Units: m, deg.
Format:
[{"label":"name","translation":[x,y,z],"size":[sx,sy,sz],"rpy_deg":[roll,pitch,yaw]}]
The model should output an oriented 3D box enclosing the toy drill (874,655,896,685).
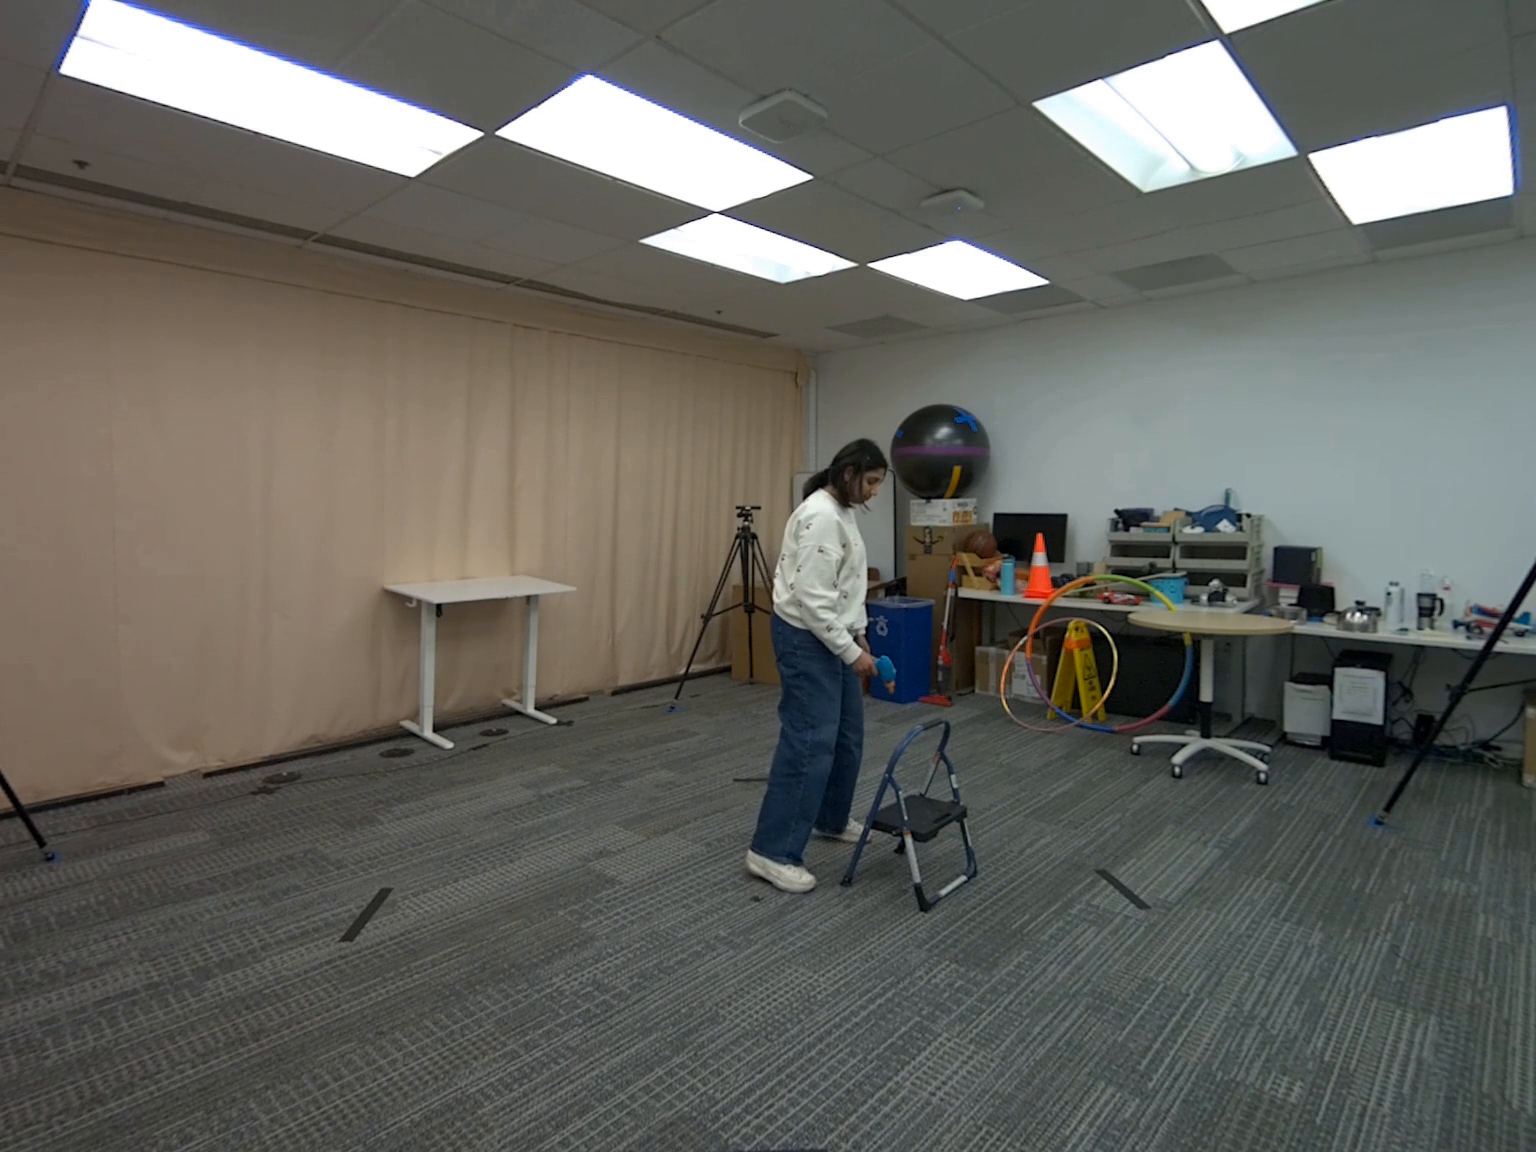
[{"label":"toy drill","translation":[0.402,0.374,3.163],"size":[0.149,0.166,0.061],"rpy_deg":[-8,24,24]}]
